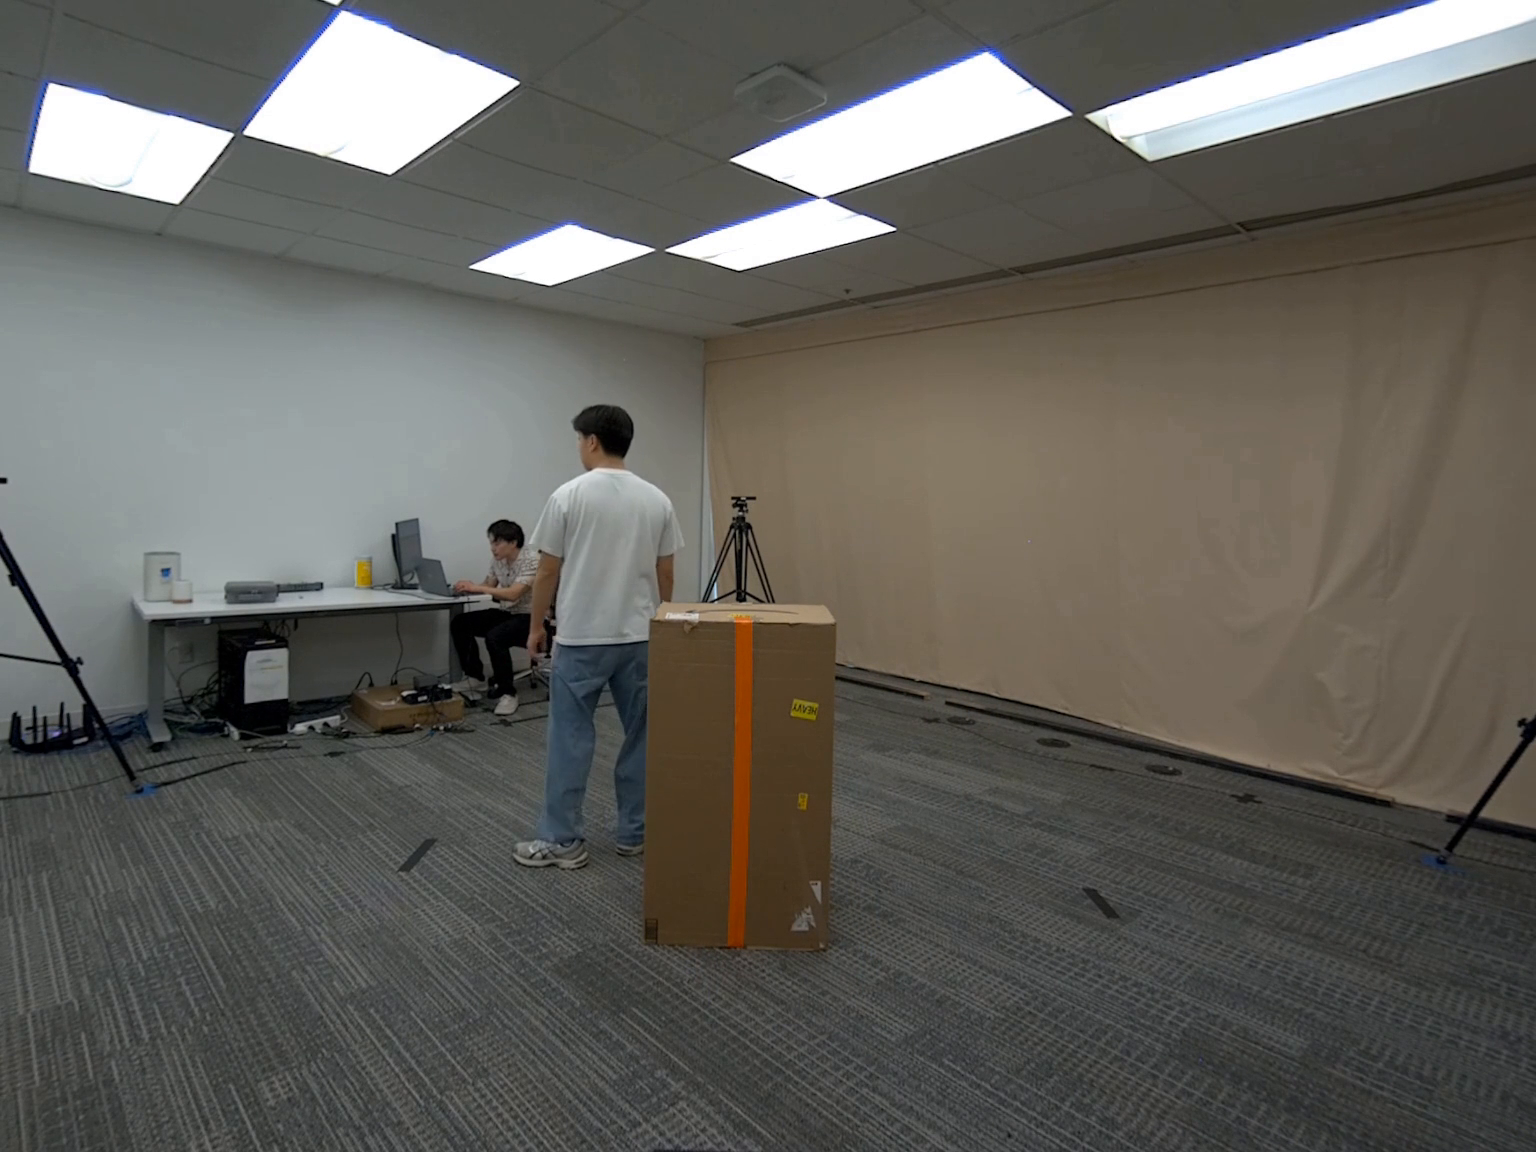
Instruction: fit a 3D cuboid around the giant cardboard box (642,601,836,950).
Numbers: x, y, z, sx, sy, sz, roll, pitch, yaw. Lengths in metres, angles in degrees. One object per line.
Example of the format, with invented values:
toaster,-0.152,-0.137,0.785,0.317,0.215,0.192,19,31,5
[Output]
giant cardboard box,-0.098,0.629,2.781,0.577,1.023,0.427,1,3,0
